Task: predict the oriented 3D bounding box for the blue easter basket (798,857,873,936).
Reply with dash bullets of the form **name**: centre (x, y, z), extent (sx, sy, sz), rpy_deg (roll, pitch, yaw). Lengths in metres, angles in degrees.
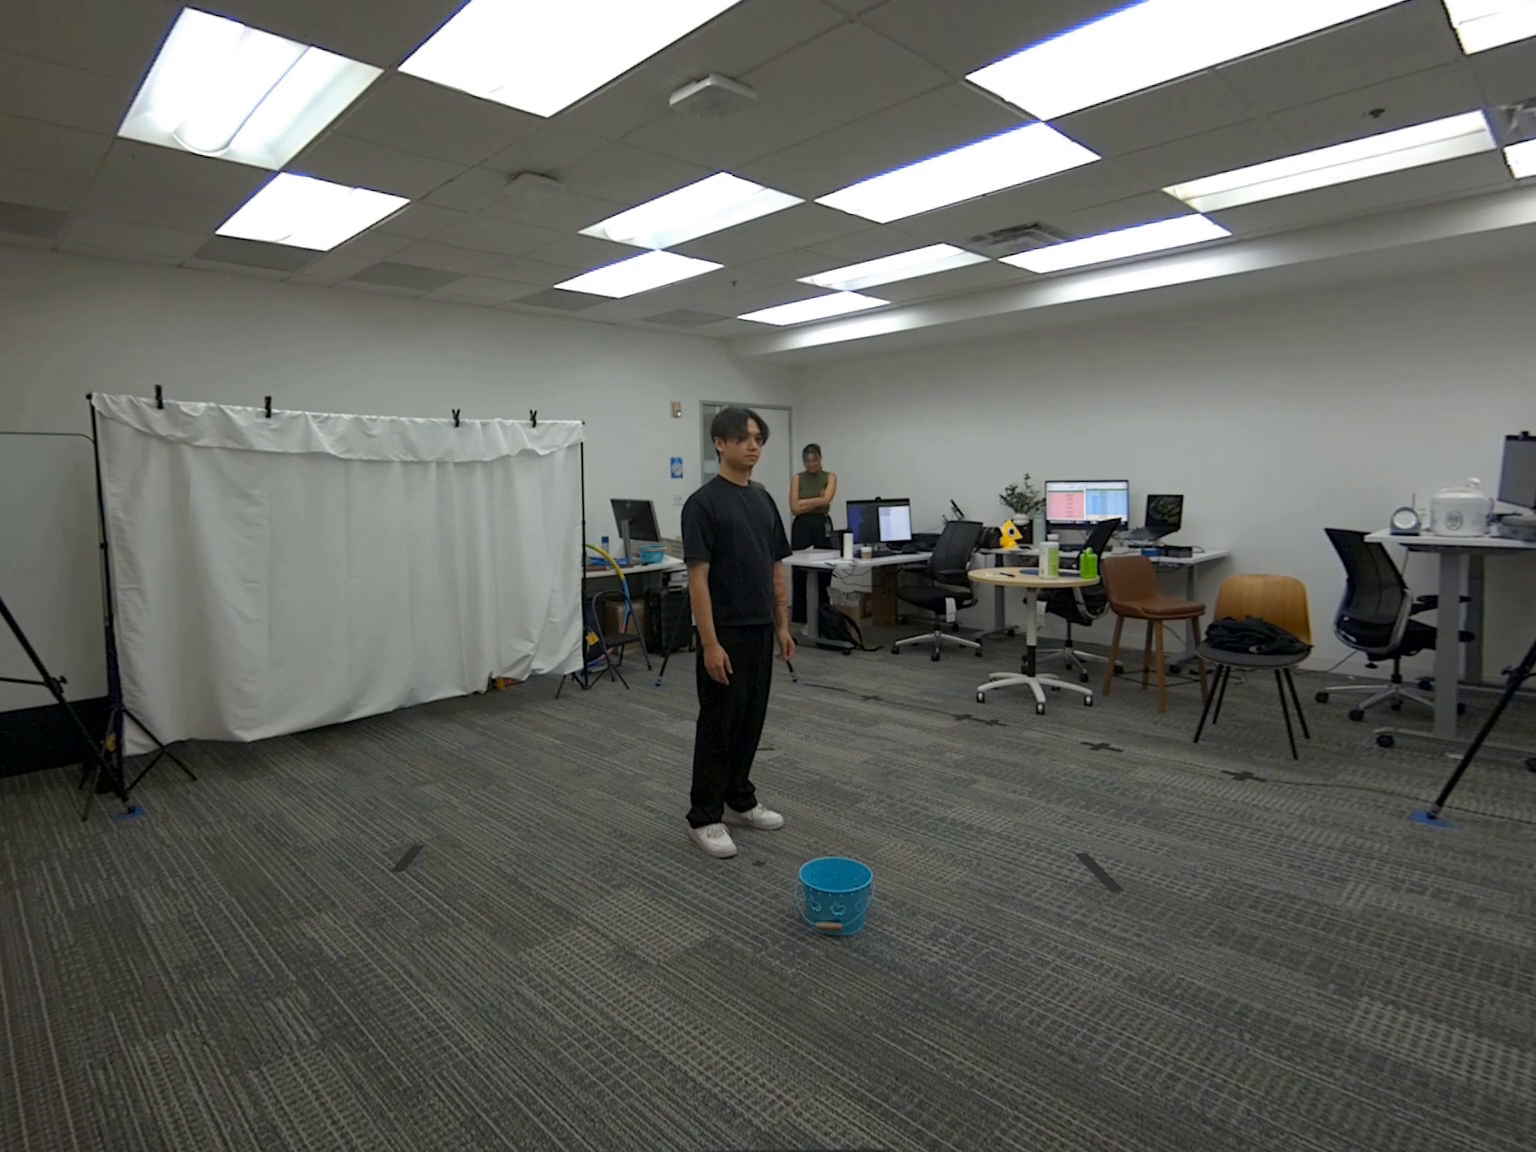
- **blue easter basket**: centre (0.216, 1.014, 2.692), extent (0.243, 0.155, 0.245), rpy_deg (-1, 5, -2)
